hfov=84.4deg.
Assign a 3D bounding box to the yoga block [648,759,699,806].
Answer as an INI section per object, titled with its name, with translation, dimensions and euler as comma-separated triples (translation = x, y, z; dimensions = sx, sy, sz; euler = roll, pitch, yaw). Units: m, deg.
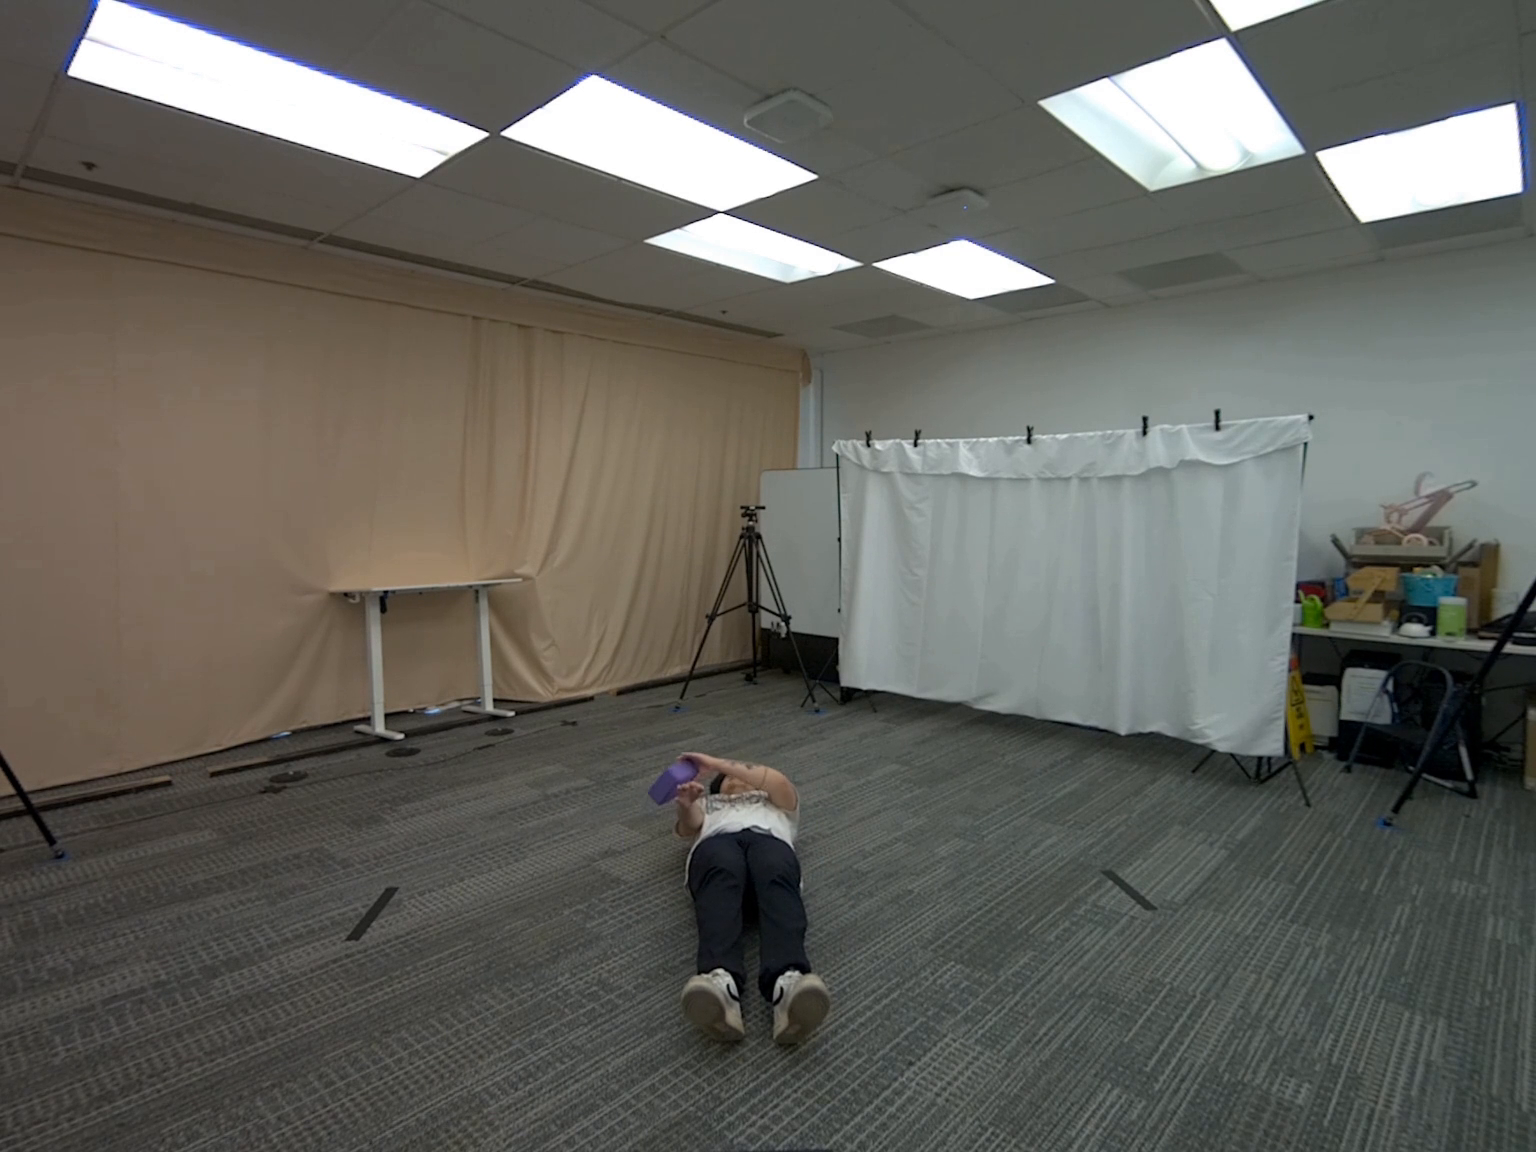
[yoga block]
translation = -0.351, 0.804, 3.300
dimensions = 0.078, 0.149, 0.224
euler = 40, 15, 17
